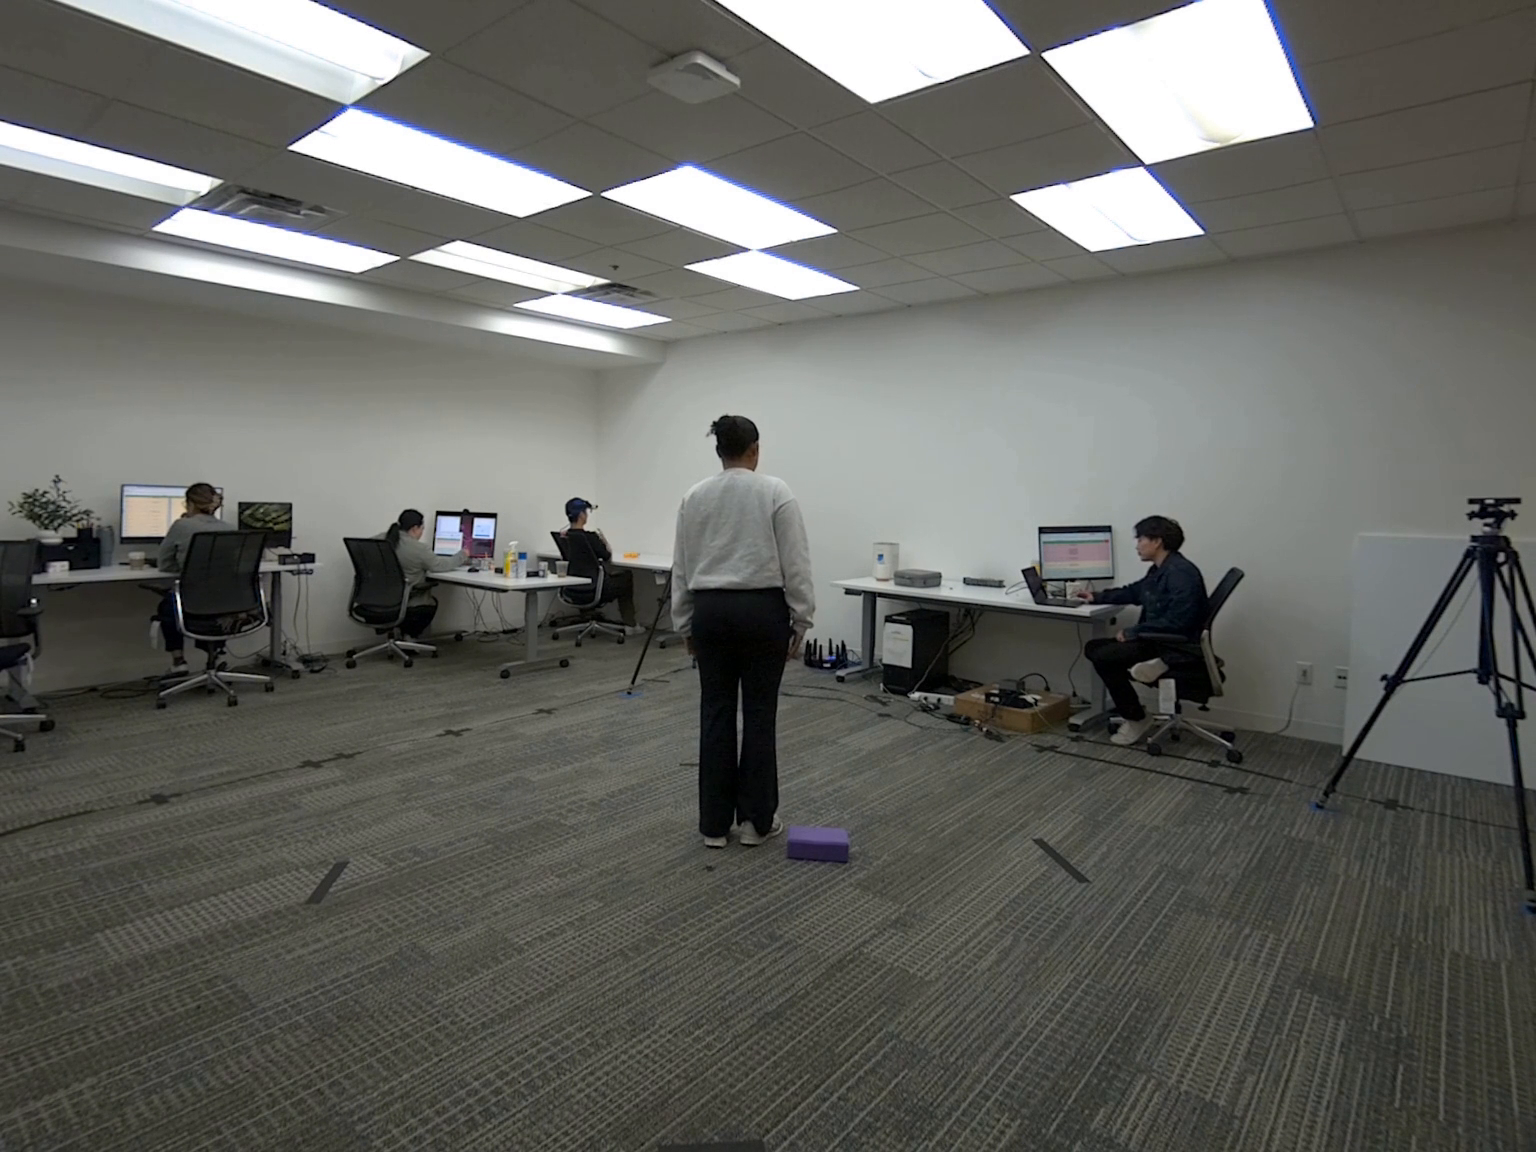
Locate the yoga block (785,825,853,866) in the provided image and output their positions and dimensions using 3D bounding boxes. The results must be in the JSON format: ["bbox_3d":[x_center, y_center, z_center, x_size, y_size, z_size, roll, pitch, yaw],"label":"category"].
[{"bbox_3d":[0.177,1.014,3.257,0.231,0.076,0.149,2,7,4],"label":"yoga block"}]
